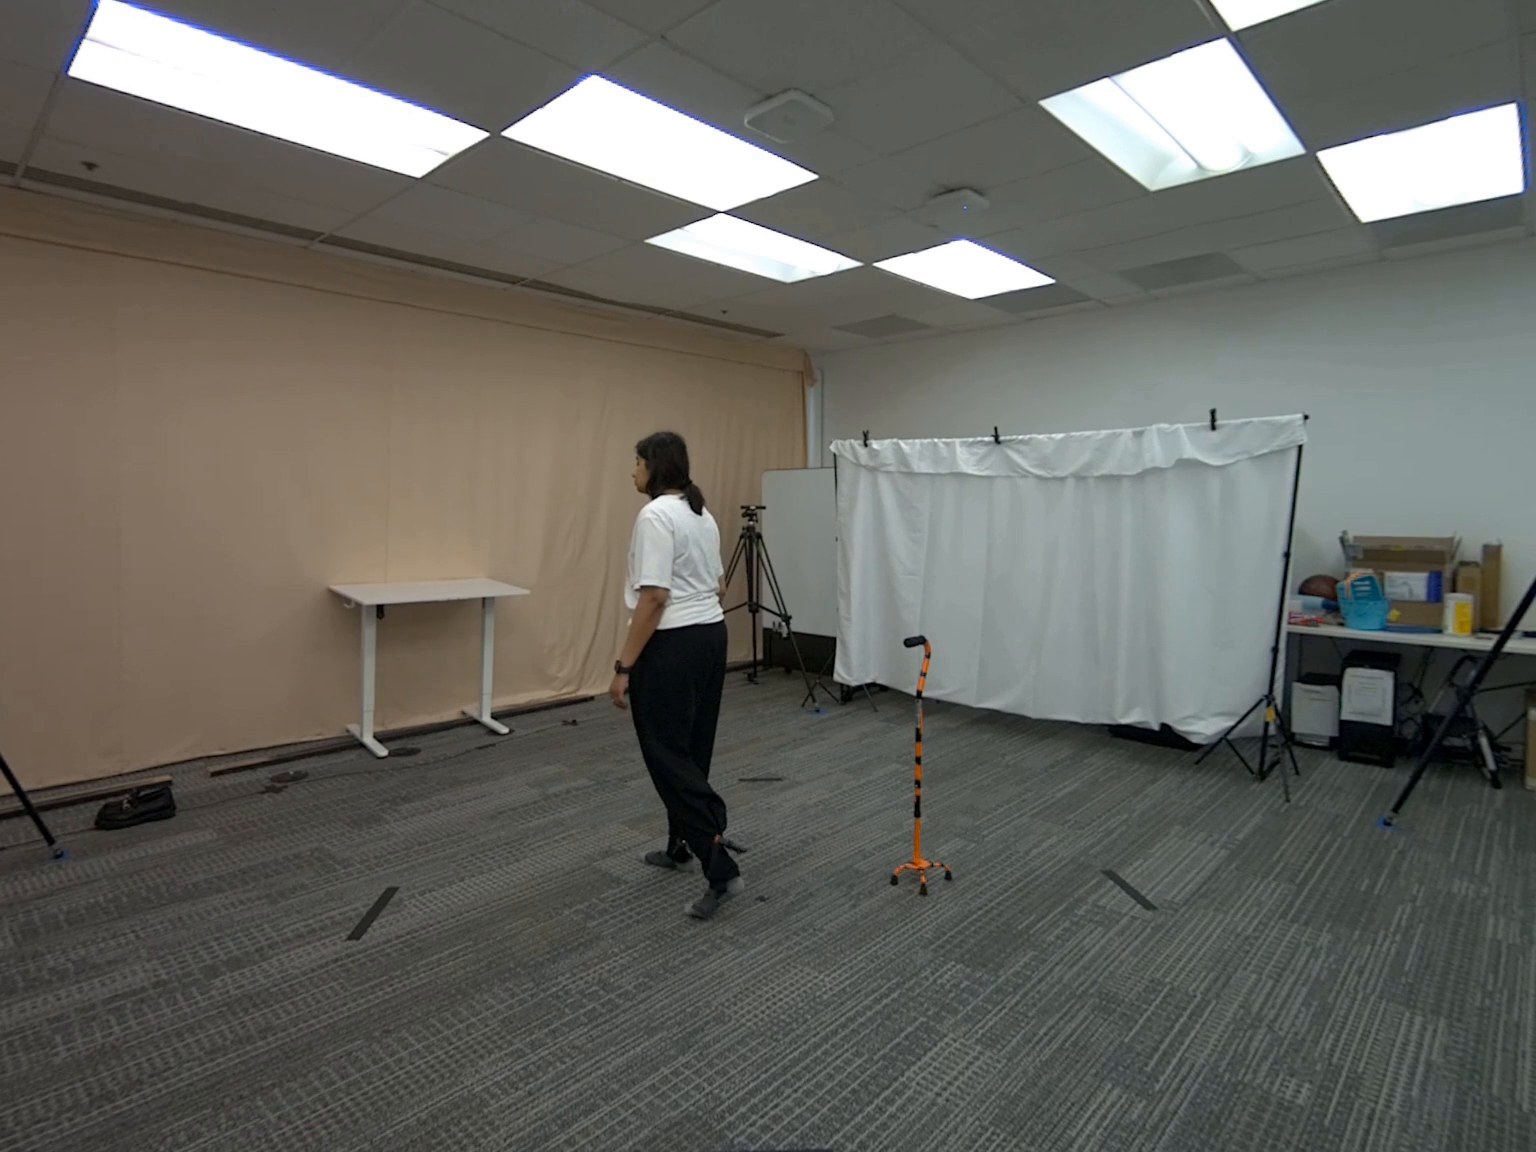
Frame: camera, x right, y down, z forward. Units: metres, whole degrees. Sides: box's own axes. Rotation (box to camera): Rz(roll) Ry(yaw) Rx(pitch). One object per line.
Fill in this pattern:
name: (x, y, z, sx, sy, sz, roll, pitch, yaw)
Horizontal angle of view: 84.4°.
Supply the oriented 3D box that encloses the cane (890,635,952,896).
cane: (0.578, 0.680, 3.101, 0.156, 0.907, 0.200, 2, 2, 42)
